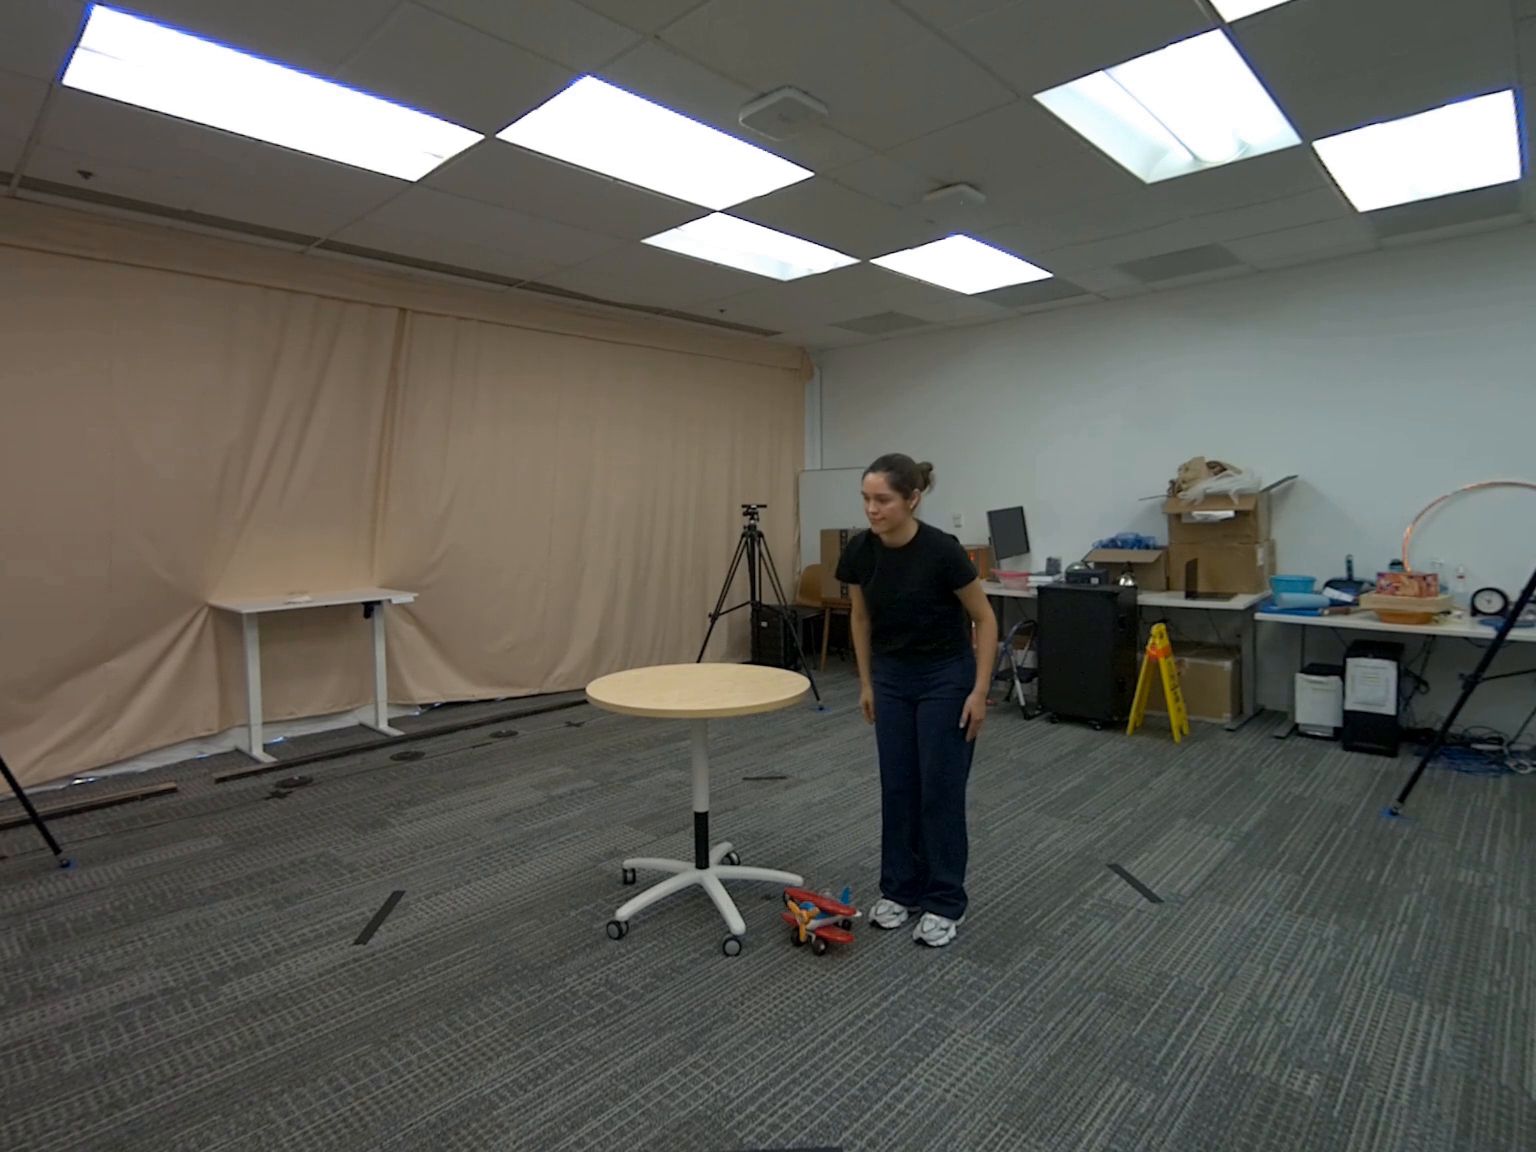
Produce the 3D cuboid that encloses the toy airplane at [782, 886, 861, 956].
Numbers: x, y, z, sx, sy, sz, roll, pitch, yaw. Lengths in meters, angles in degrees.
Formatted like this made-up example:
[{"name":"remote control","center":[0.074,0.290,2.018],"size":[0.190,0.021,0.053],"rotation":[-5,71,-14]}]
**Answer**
[{"name":"toy airplane","center":[0.188,1.089,2.699],"size":[0.255,0.156,0.256],"rotation":[-1,5,13]}]
